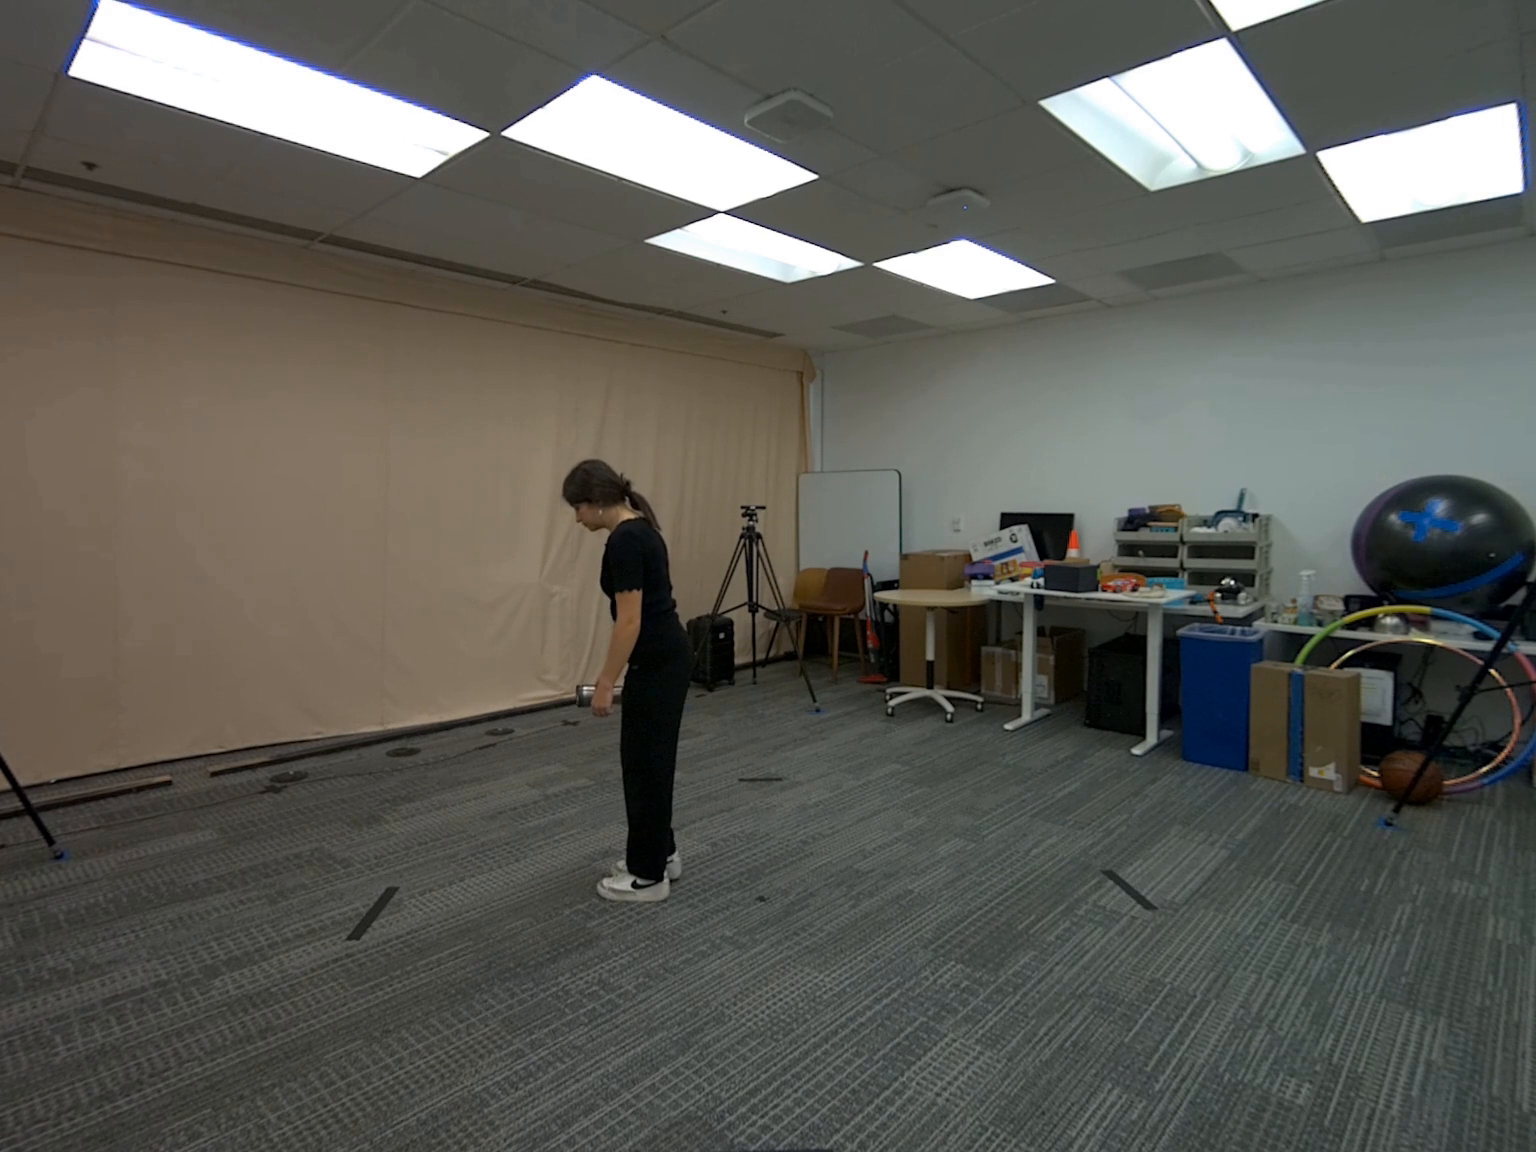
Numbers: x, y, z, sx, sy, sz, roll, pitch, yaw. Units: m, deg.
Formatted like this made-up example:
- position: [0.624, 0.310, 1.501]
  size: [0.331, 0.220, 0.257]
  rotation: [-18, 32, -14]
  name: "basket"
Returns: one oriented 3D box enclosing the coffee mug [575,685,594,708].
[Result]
- position: [-0.631, 0.454, 3.213]
  size: [0.200, 0.088, 0.123]
  rotation: [-1, -8, -13]
  name: "coffee mug"
